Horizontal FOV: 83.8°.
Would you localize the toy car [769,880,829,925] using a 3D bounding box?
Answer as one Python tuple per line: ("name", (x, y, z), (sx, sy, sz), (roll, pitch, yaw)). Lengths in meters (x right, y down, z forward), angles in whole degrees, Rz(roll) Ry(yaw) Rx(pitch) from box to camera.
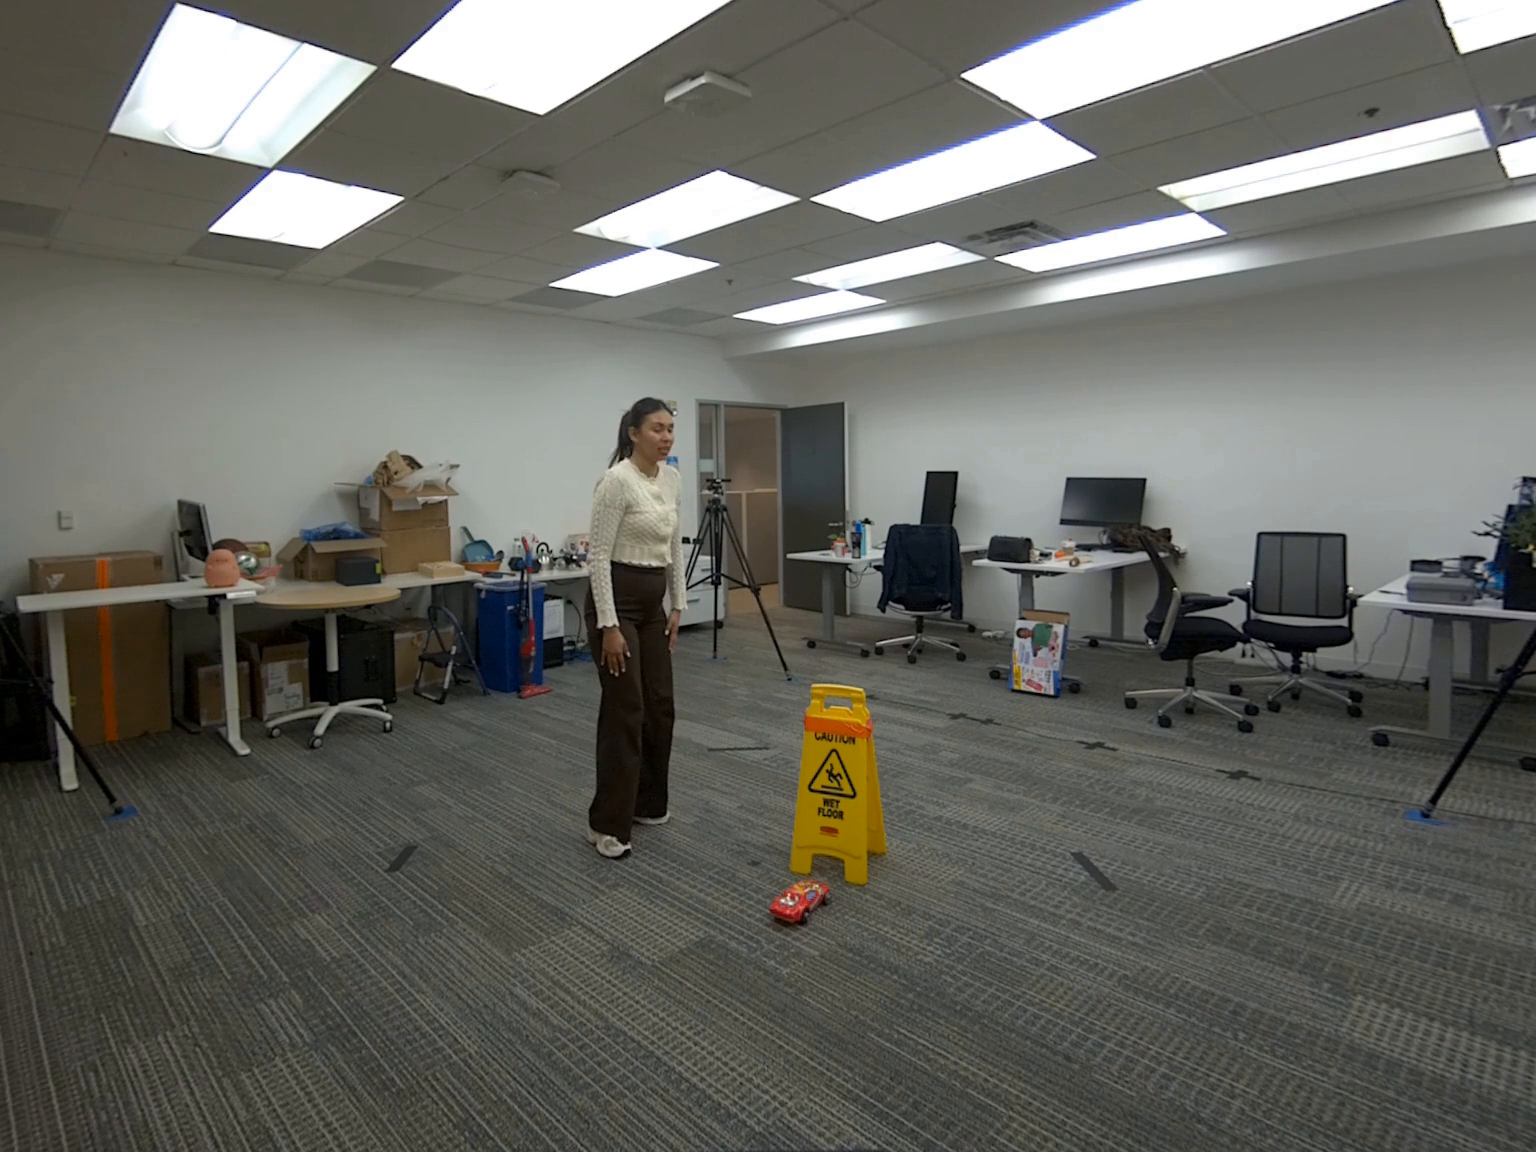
("toy car", (0.103, 1.053, 2.748), (0.134, 0.083, 0.246), (4, -3, 34))
